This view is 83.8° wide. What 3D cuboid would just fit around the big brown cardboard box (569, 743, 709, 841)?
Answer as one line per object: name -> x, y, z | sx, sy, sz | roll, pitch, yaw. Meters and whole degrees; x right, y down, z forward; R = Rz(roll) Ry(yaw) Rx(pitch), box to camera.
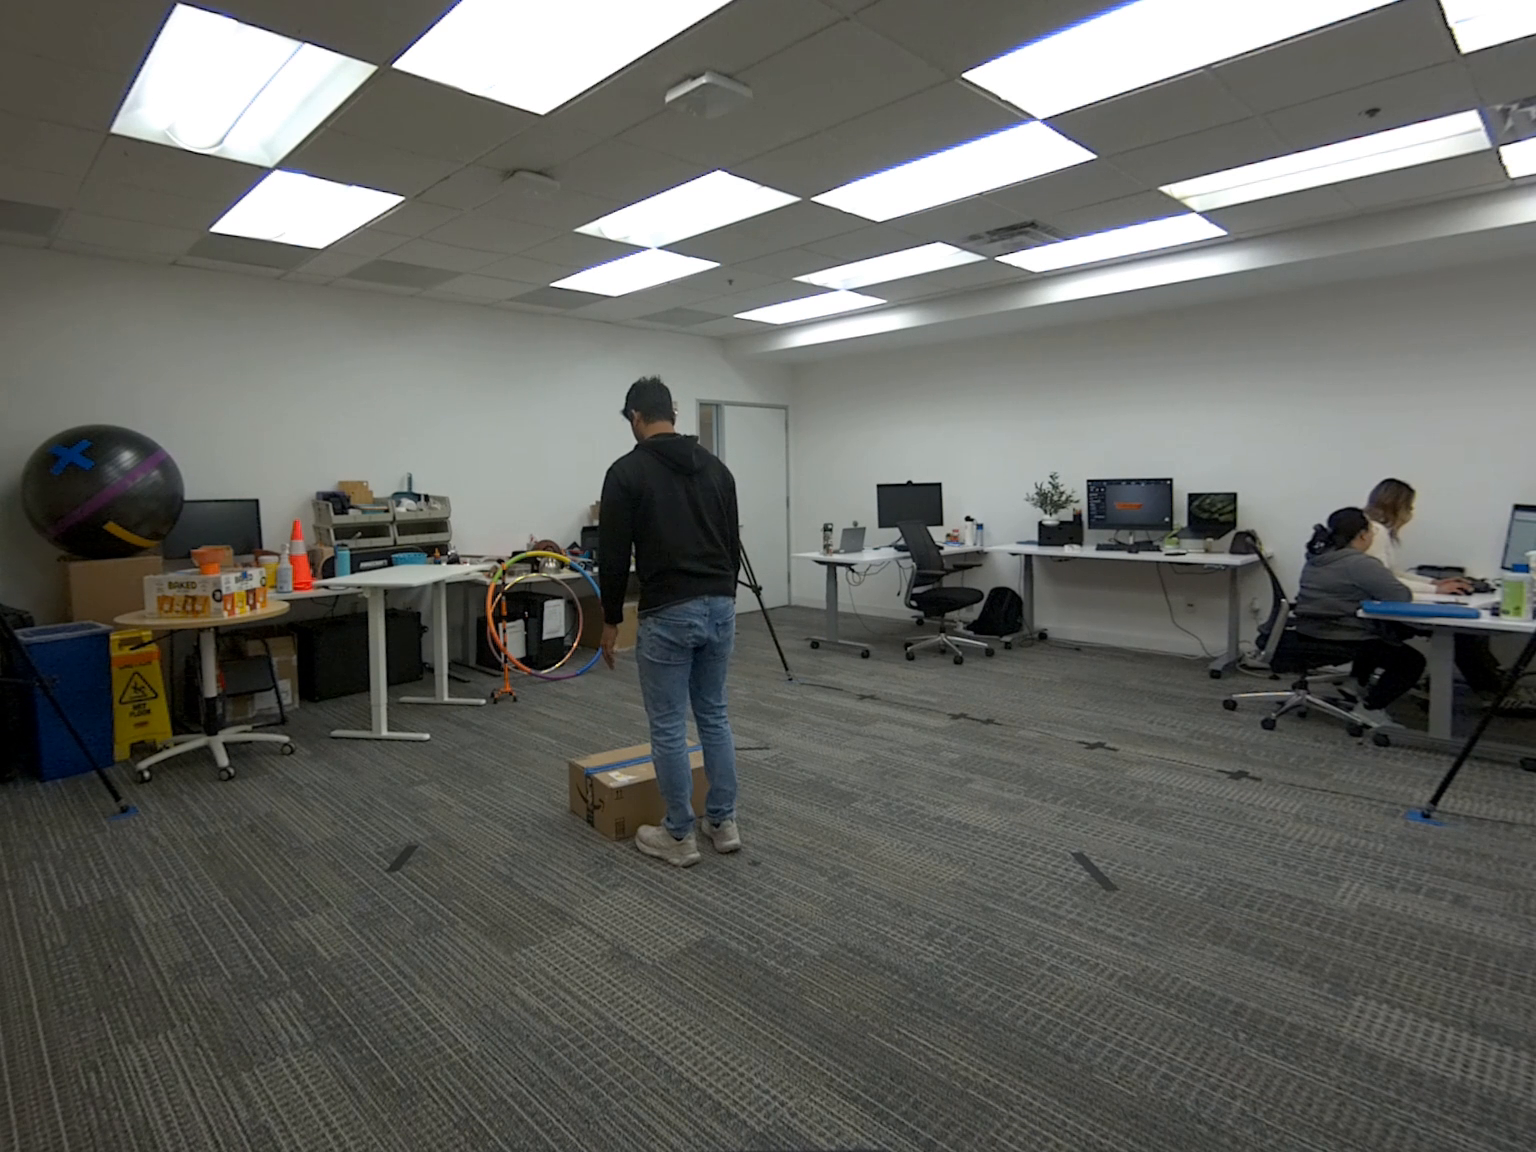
big brown cardboard box -> -0.506, 0.882, 3.629 | 0.574, 0.232, 0.430 | -5, 6, -35
